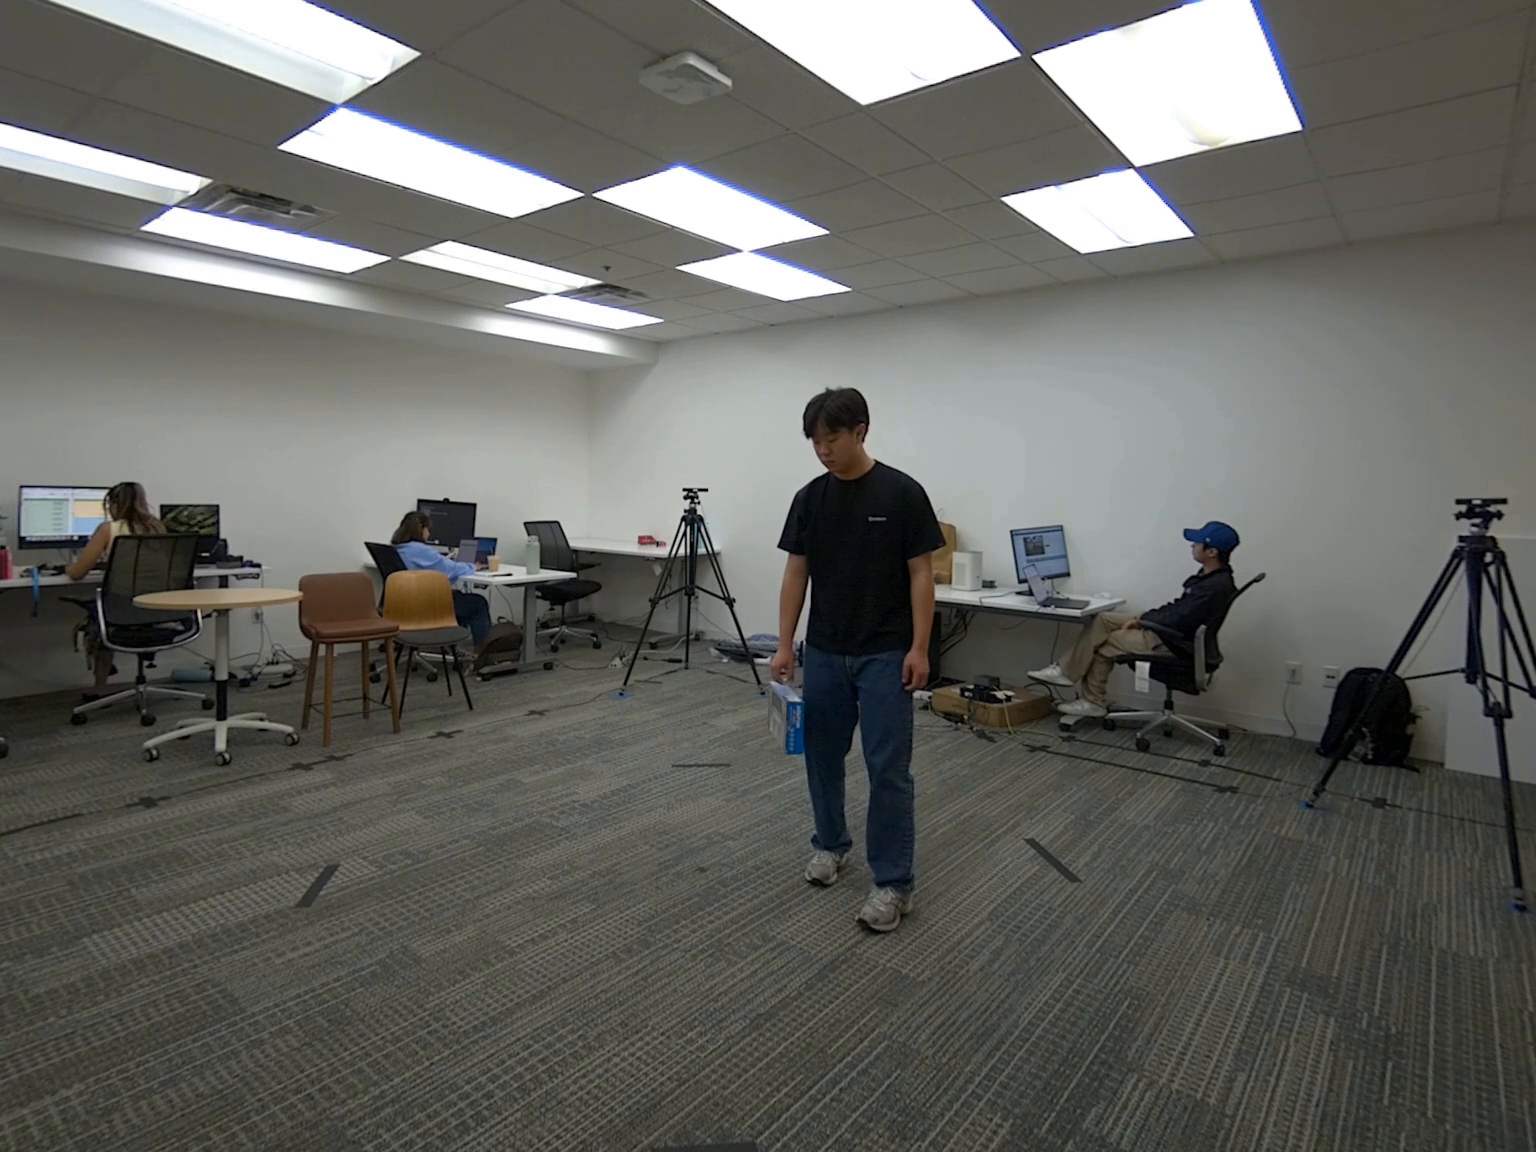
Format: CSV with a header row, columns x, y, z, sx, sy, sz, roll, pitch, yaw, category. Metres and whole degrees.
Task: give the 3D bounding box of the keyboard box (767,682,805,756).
x,y,z,sx,sy,sz,roll,pitch,yaw,category
0.050,0.479,2.992,0.058,0.176,0.440,2,1,-9,keyboard box
